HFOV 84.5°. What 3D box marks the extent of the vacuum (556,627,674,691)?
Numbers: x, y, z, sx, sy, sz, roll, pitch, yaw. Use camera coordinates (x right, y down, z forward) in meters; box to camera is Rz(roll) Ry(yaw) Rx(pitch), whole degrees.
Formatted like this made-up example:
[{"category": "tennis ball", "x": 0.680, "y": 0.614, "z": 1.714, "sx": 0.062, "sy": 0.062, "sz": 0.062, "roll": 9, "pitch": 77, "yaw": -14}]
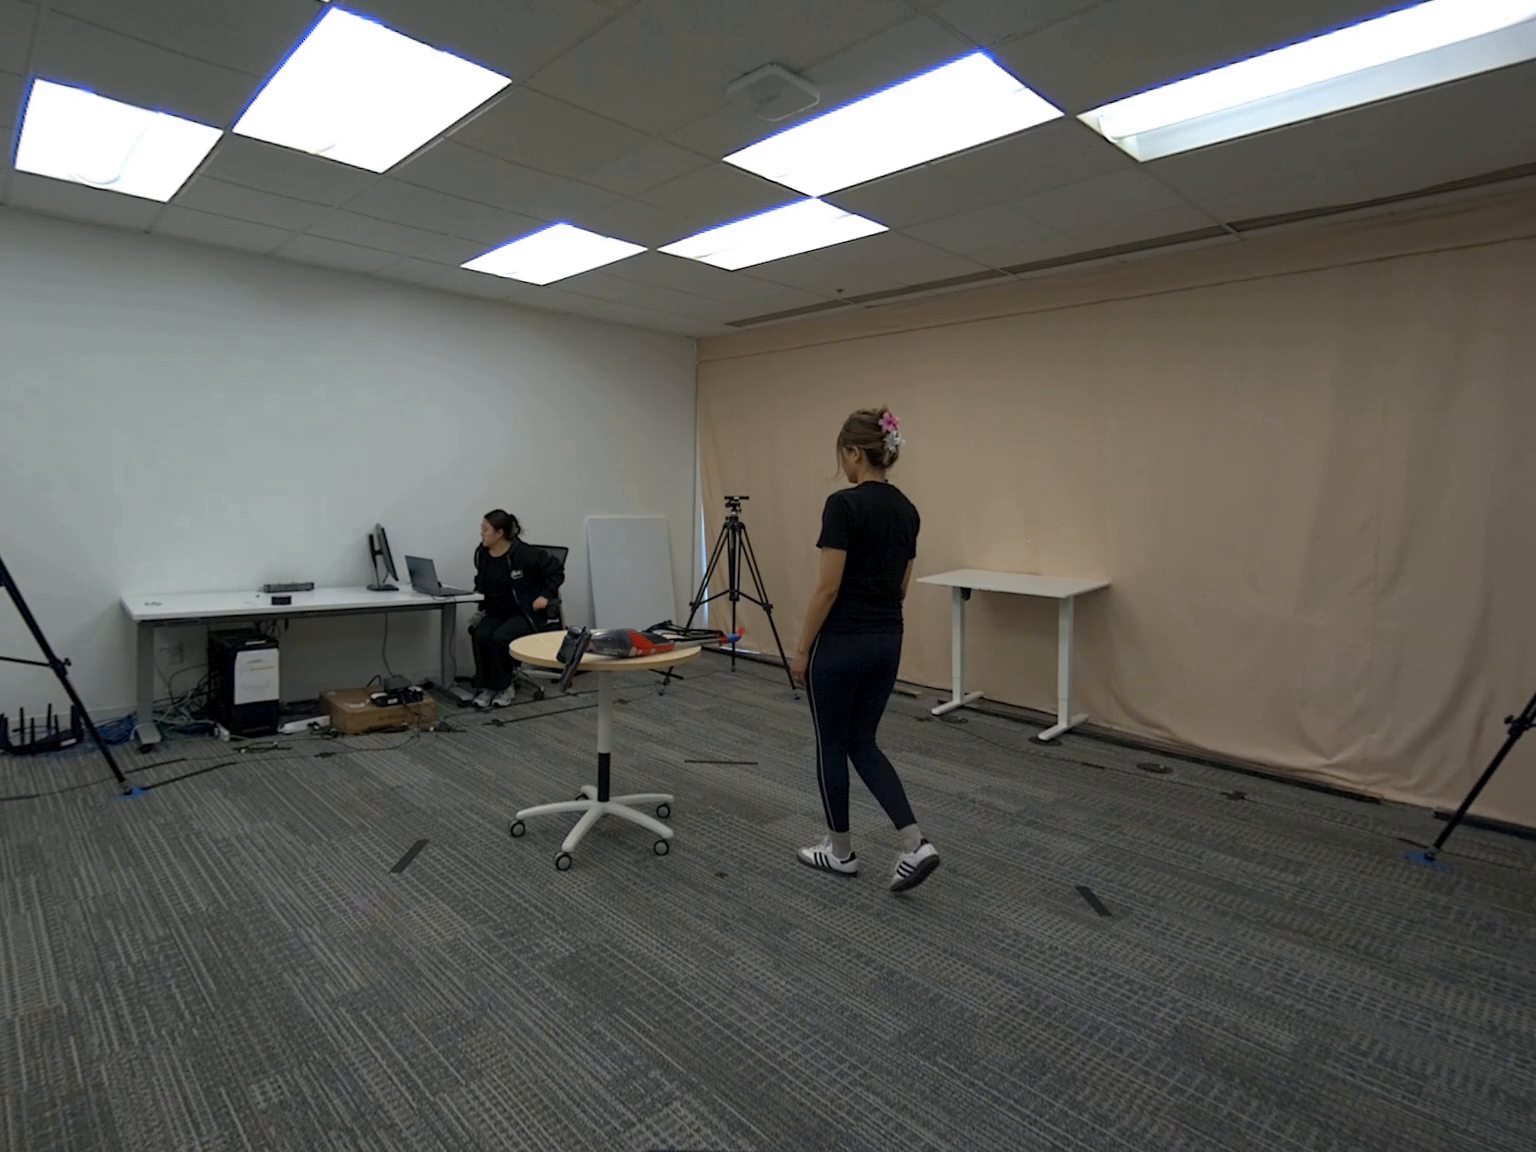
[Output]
[{"category": "vacuum", "x": -0.405, "y": 0.263, "z": 3.343, "sx": 0.148, "sy": 0.251, "sz": 1.026, "roll": 41, "pitch": 23, "yaw": 26}]
